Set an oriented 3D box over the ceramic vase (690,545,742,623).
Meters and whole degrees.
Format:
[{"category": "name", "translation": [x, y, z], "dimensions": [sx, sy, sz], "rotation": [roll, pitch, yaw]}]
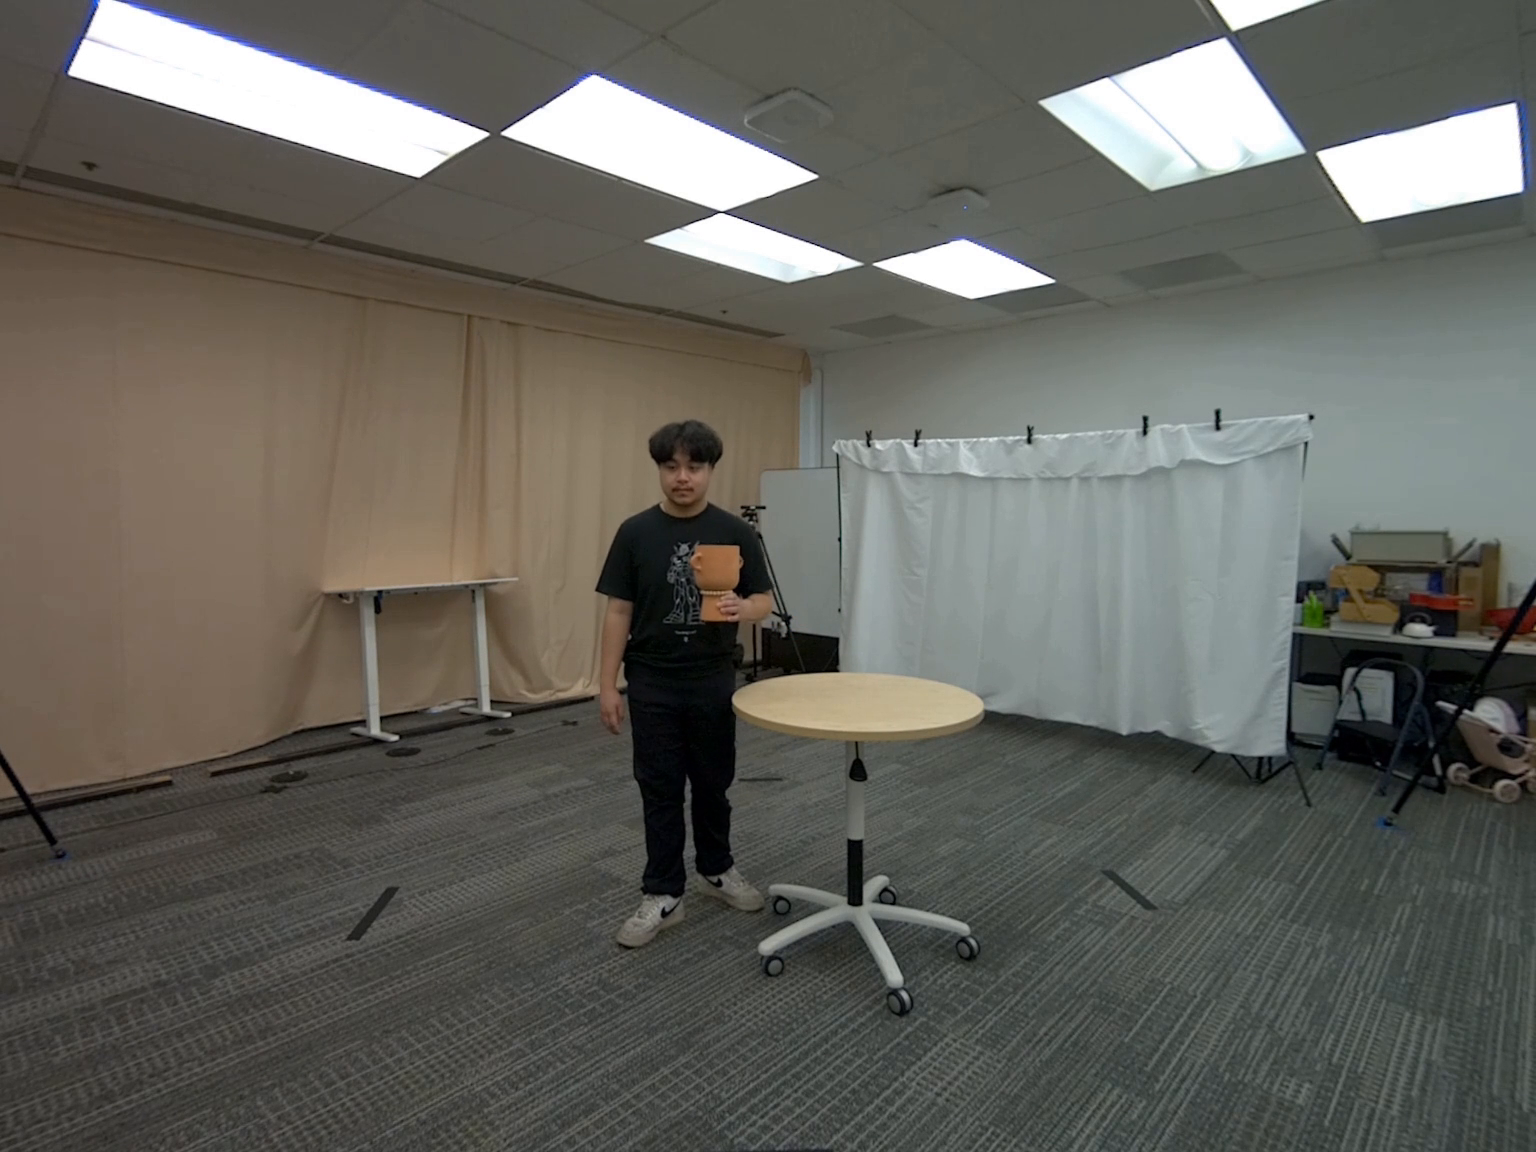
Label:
[{"category": "ceramic vase", "translation": [-0.154, 0.020, 2.503], "dimensions": [0.159, 0.220, 0.135], "rotation": [-1, -1, -1]}]
